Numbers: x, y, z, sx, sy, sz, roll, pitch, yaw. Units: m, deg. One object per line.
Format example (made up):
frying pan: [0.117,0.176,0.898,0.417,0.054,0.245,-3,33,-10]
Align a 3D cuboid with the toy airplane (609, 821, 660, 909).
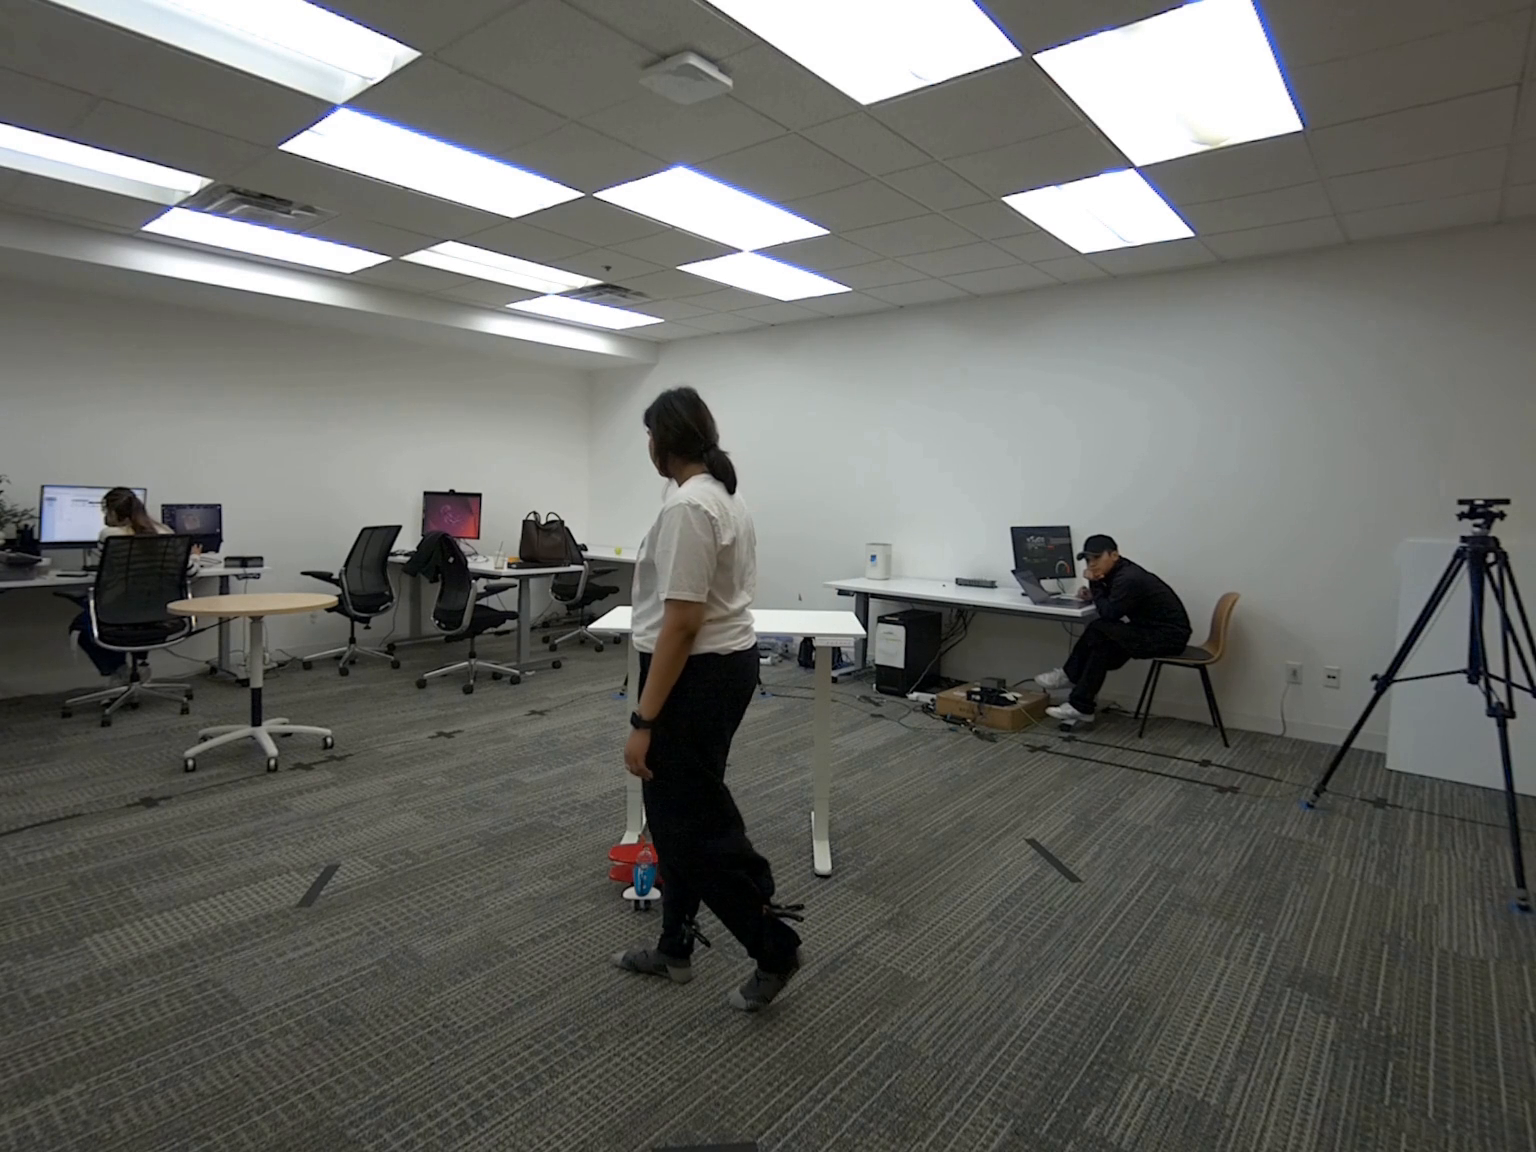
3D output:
toy airplane: [-0.402,1.011,2.885,0.244,0.156,0.267,-2,3,-31]
